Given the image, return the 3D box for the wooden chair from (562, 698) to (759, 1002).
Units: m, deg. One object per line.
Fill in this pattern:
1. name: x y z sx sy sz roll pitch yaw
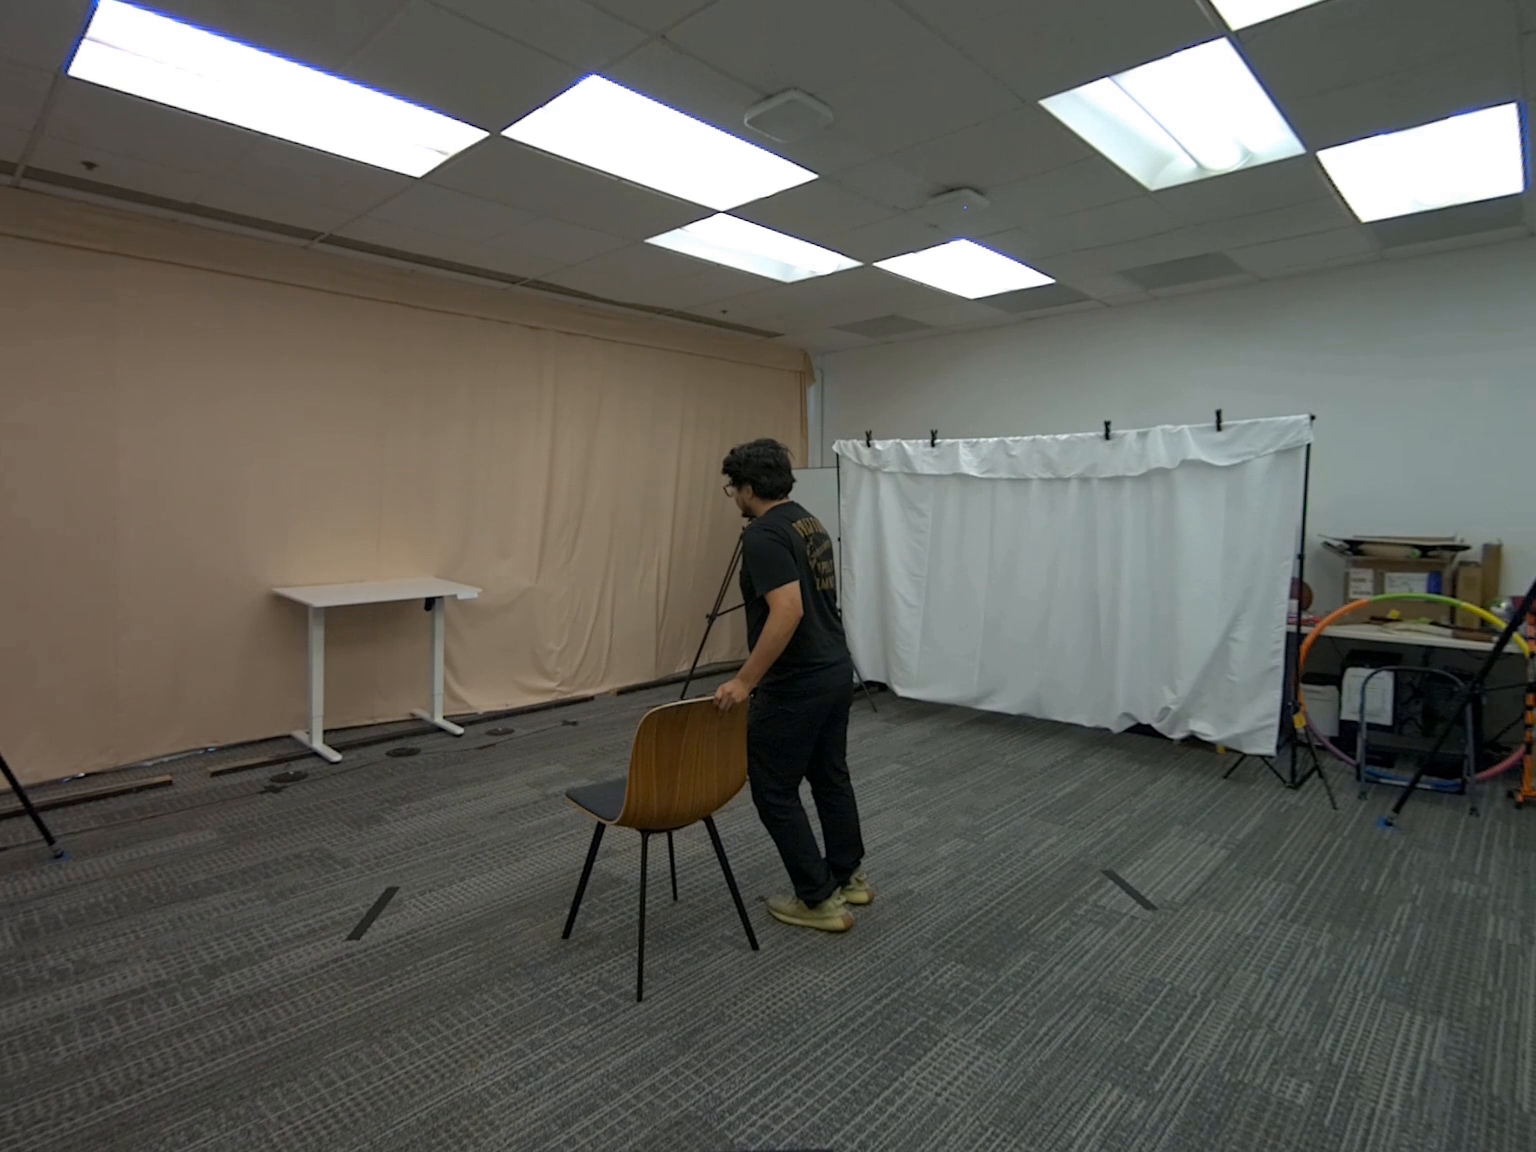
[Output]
1. wooden chair: -0.354 0.748 2.652 0.463 0.874 0.541 -2 8 -40
